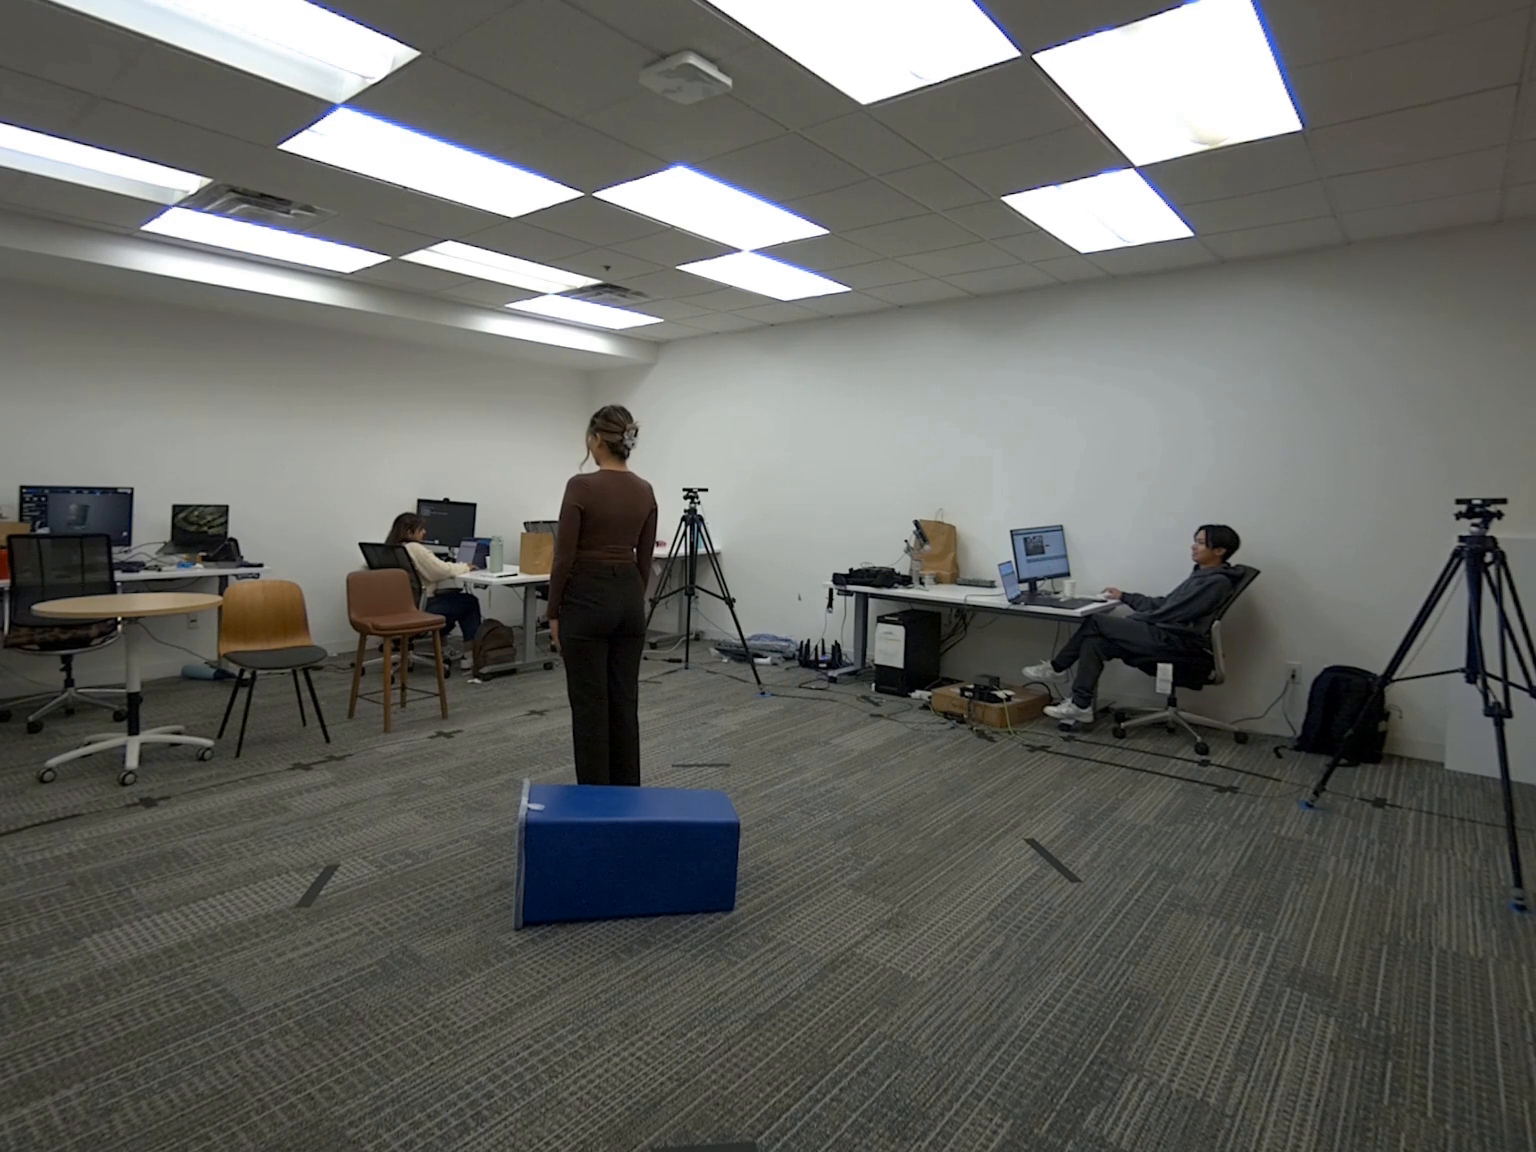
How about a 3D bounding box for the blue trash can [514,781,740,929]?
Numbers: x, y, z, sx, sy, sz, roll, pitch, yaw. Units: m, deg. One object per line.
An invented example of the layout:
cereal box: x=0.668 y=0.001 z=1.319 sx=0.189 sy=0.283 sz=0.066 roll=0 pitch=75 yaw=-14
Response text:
blue trash can: x=-0.489 y=0.926 z=2.878 sx=0.704 sy=0.377 sz=0.380 roll=2 pitch=3 yaw=-12
